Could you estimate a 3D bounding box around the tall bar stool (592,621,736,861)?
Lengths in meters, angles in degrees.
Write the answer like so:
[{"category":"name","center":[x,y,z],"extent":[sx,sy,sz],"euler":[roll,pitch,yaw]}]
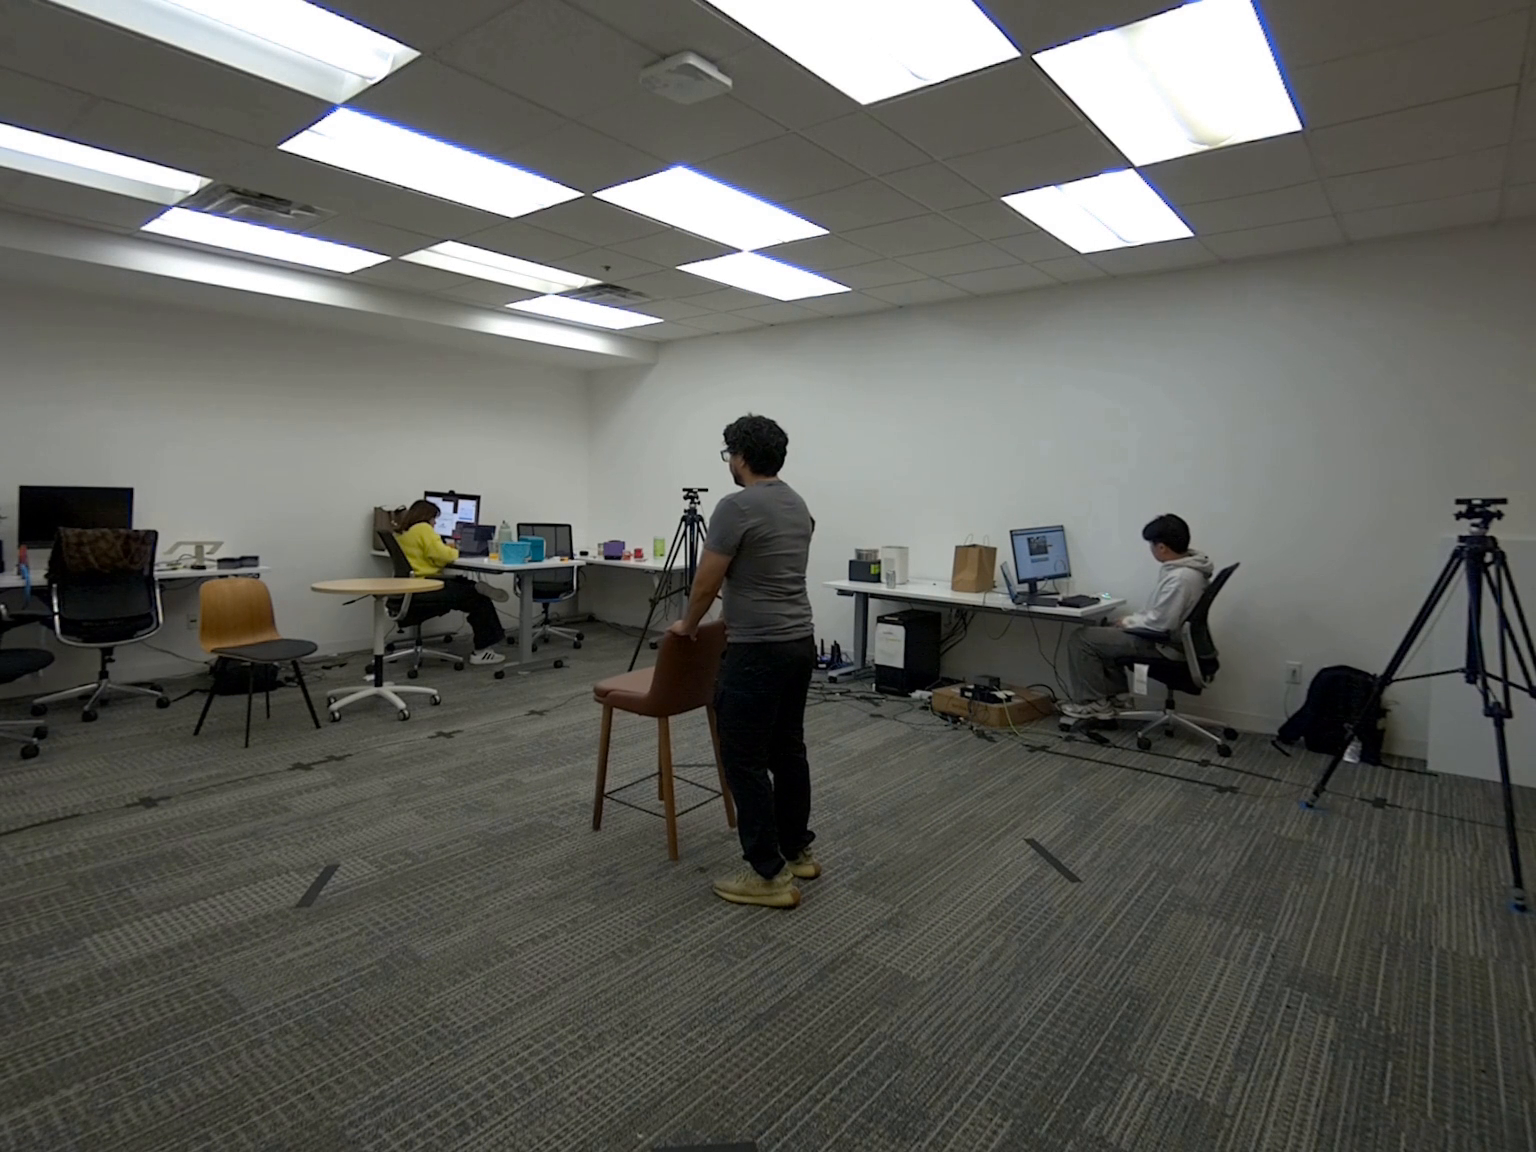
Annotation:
[{"category":"tall bar stool","center":[-0.424,0.590,3.419],"extent":[0.484,0.885,0.444],"euler":[6,8,39]}]
